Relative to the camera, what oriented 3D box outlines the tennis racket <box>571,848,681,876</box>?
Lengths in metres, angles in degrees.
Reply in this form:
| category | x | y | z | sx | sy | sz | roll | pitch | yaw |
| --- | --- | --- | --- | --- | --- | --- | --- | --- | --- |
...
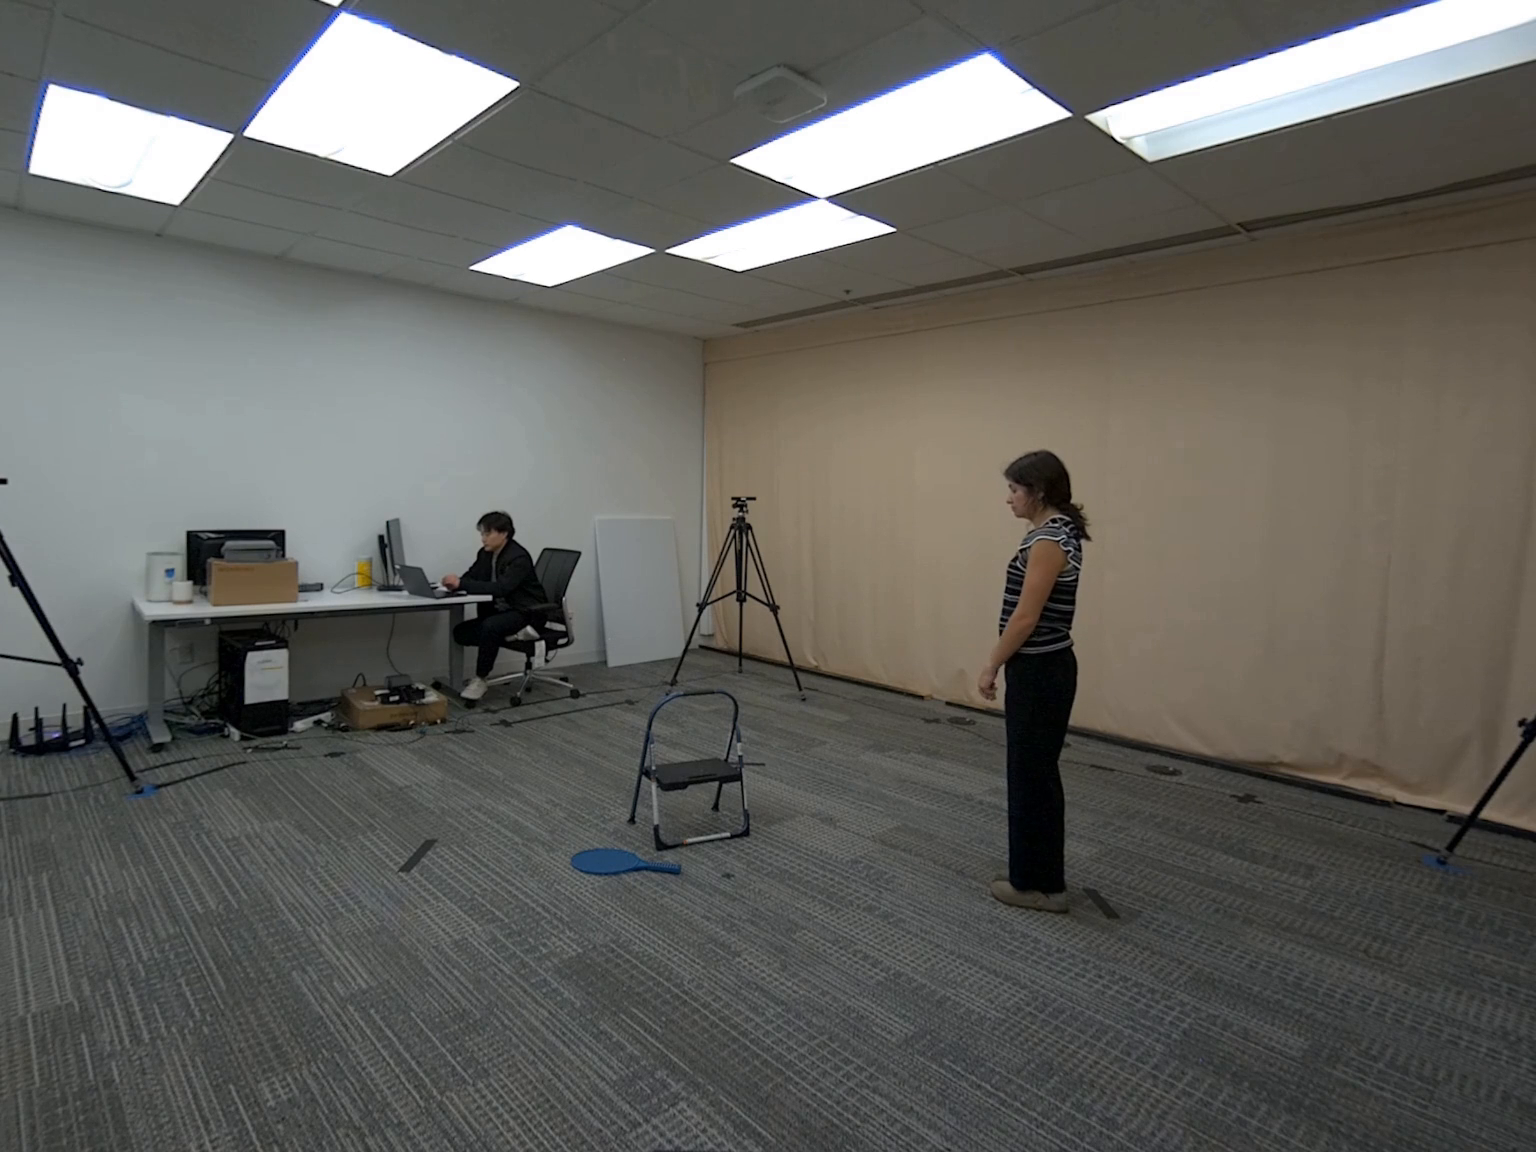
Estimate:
| category | x | y | z | sx | sy | sz | roll | pitch | yaw |
| --- | --- | --- | --- | --- | --- | --- | --- | --- | --- |
| tennis racket | -0.539 | 1.067 | 3.173 | 0.438 | 0.031 | 0.211 | 1 | 5 | 16 |
